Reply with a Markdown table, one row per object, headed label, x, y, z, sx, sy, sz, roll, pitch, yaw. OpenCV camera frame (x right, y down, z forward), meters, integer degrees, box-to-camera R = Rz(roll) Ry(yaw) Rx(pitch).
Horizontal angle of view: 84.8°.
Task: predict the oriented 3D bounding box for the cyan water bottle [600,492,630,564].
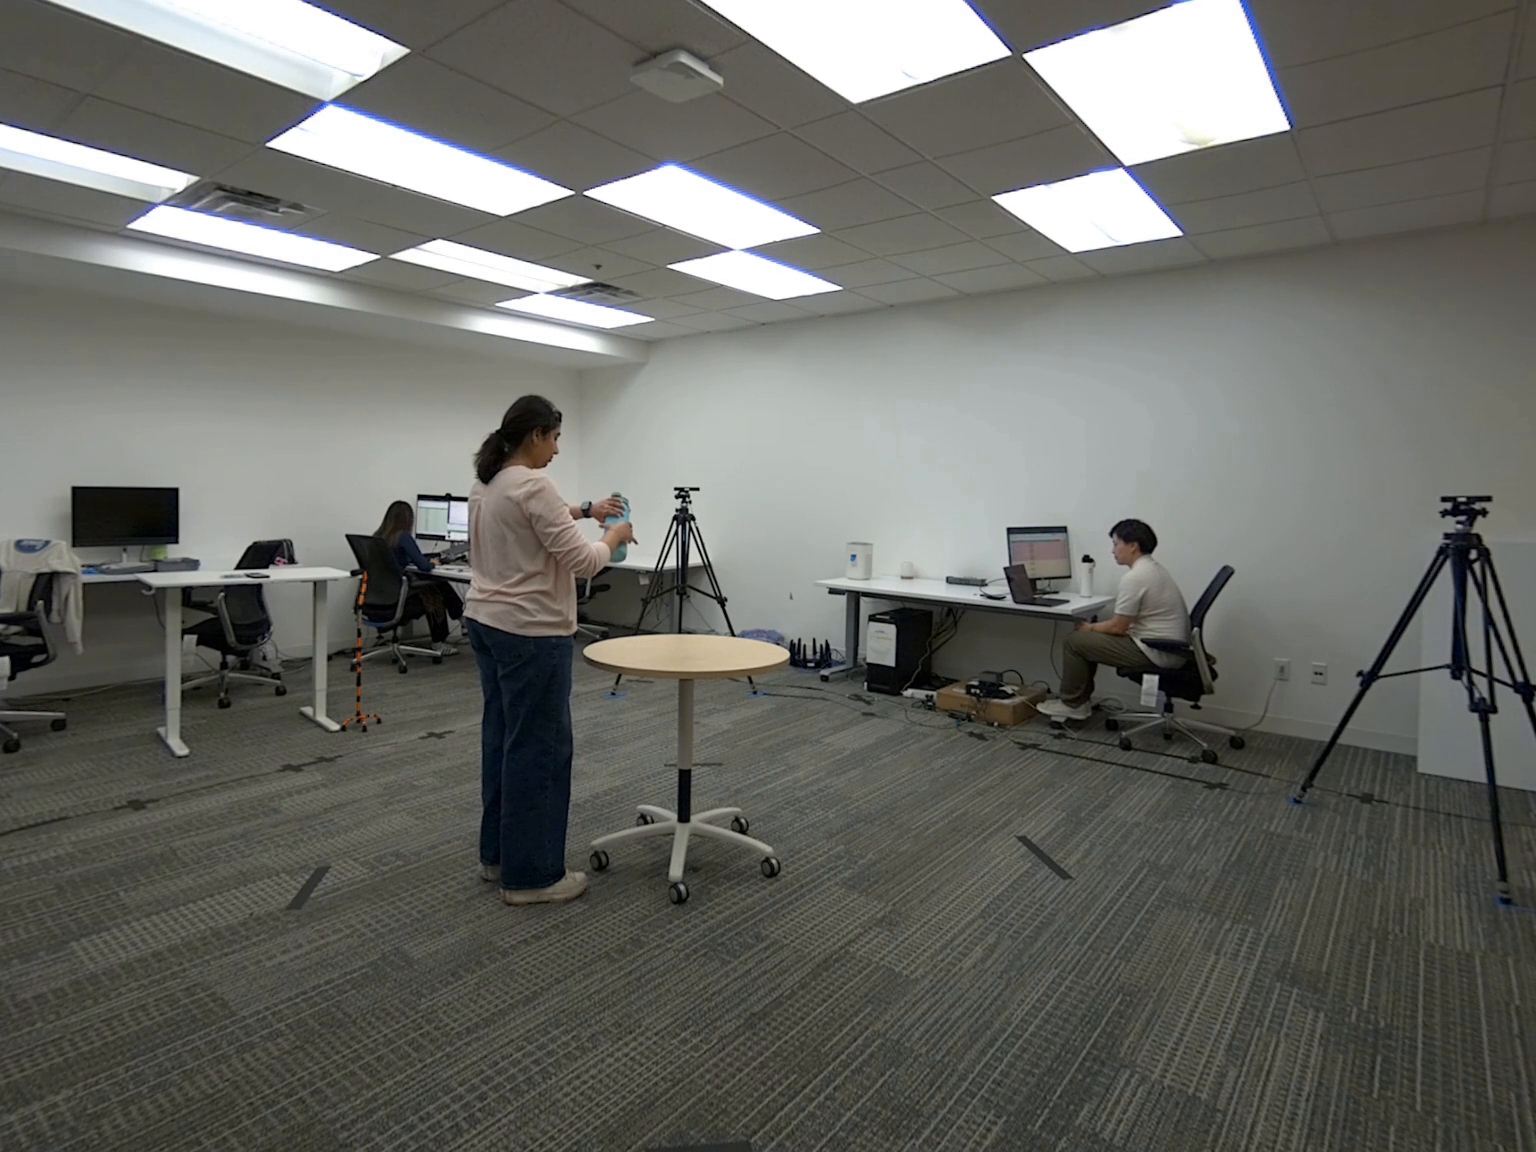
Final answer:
| label | x | y | z | sx | sy | sz | roll | pitch | yaw |
| --- | --- | --- | --- | --- | --- | --- | --- | --- | --- |
| cyan water bottle | -0.578 | -0.186 | 3.160 | 0.092 | 0.292 | 0.090 | -1 | -38 | -3 |
